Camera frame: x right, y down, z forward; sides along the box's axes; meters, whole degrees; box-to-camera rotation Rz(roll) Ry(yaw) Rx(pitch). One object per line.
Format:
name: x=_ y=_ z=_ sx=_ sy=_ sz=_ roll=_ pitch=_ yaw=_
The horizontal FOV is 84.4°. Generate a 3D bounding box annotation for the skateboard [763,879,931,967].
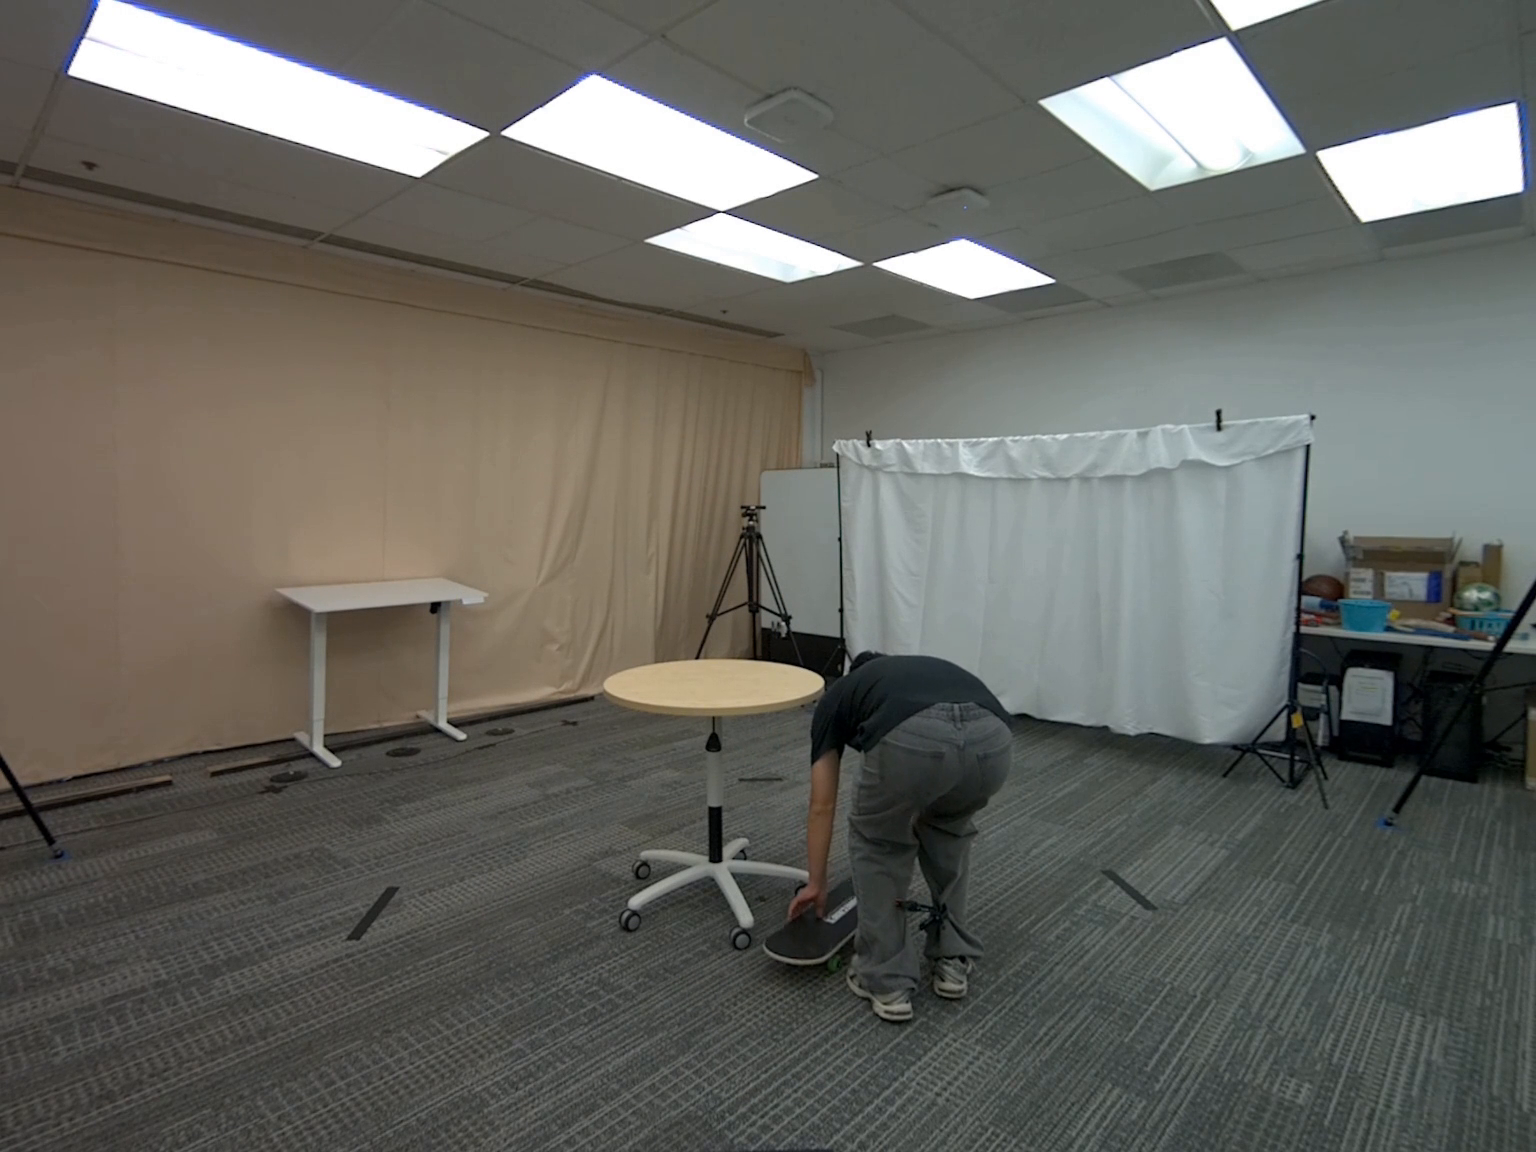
skateboard: x=0.244 y=1.107 z=2.718 sx=0.199 sy=0.110 sz=0.763 roll=2 pitch=5 yaw=35
